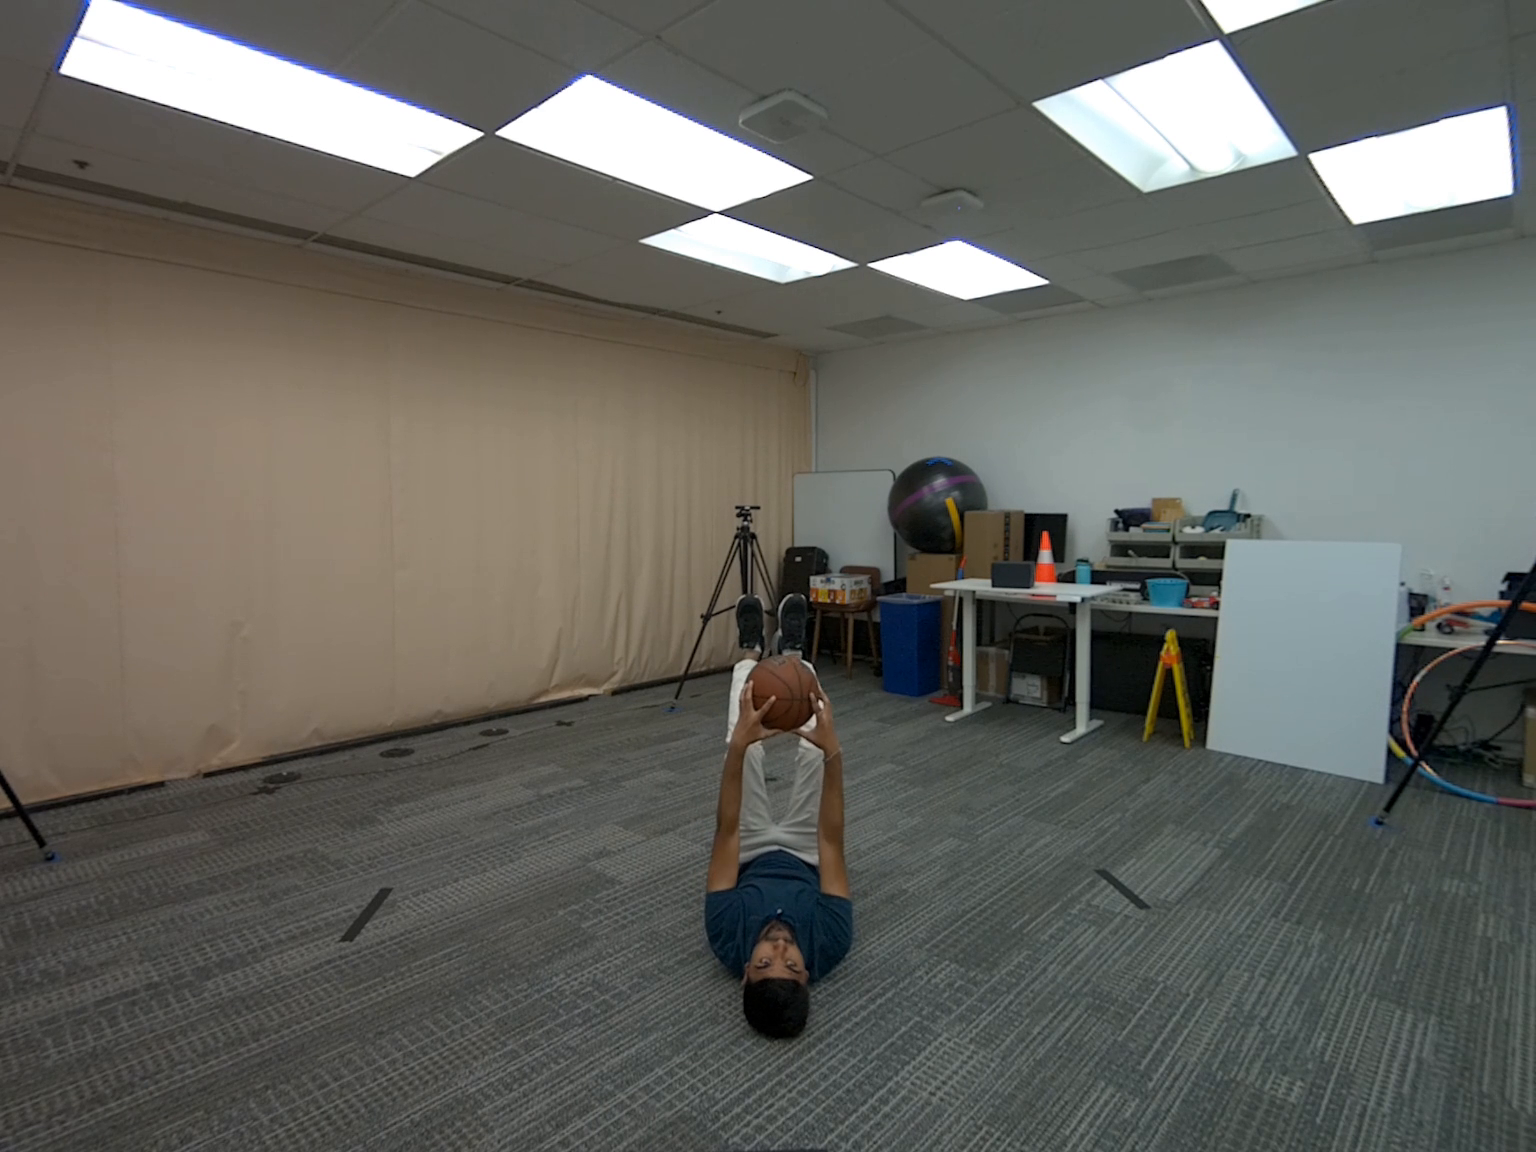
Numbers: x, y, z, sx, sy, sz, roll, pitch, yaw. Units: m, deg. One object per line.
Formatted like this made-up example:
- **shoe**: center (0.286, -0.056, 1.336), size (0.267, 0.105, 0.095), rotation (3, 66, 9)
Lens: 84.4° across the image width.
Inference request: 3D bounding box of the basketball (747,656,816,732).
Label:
- **basketball**: center (0.047, 0.372, 2.639), size (0.236, 0.235, 0.237), rotation (0, 4, -2)
